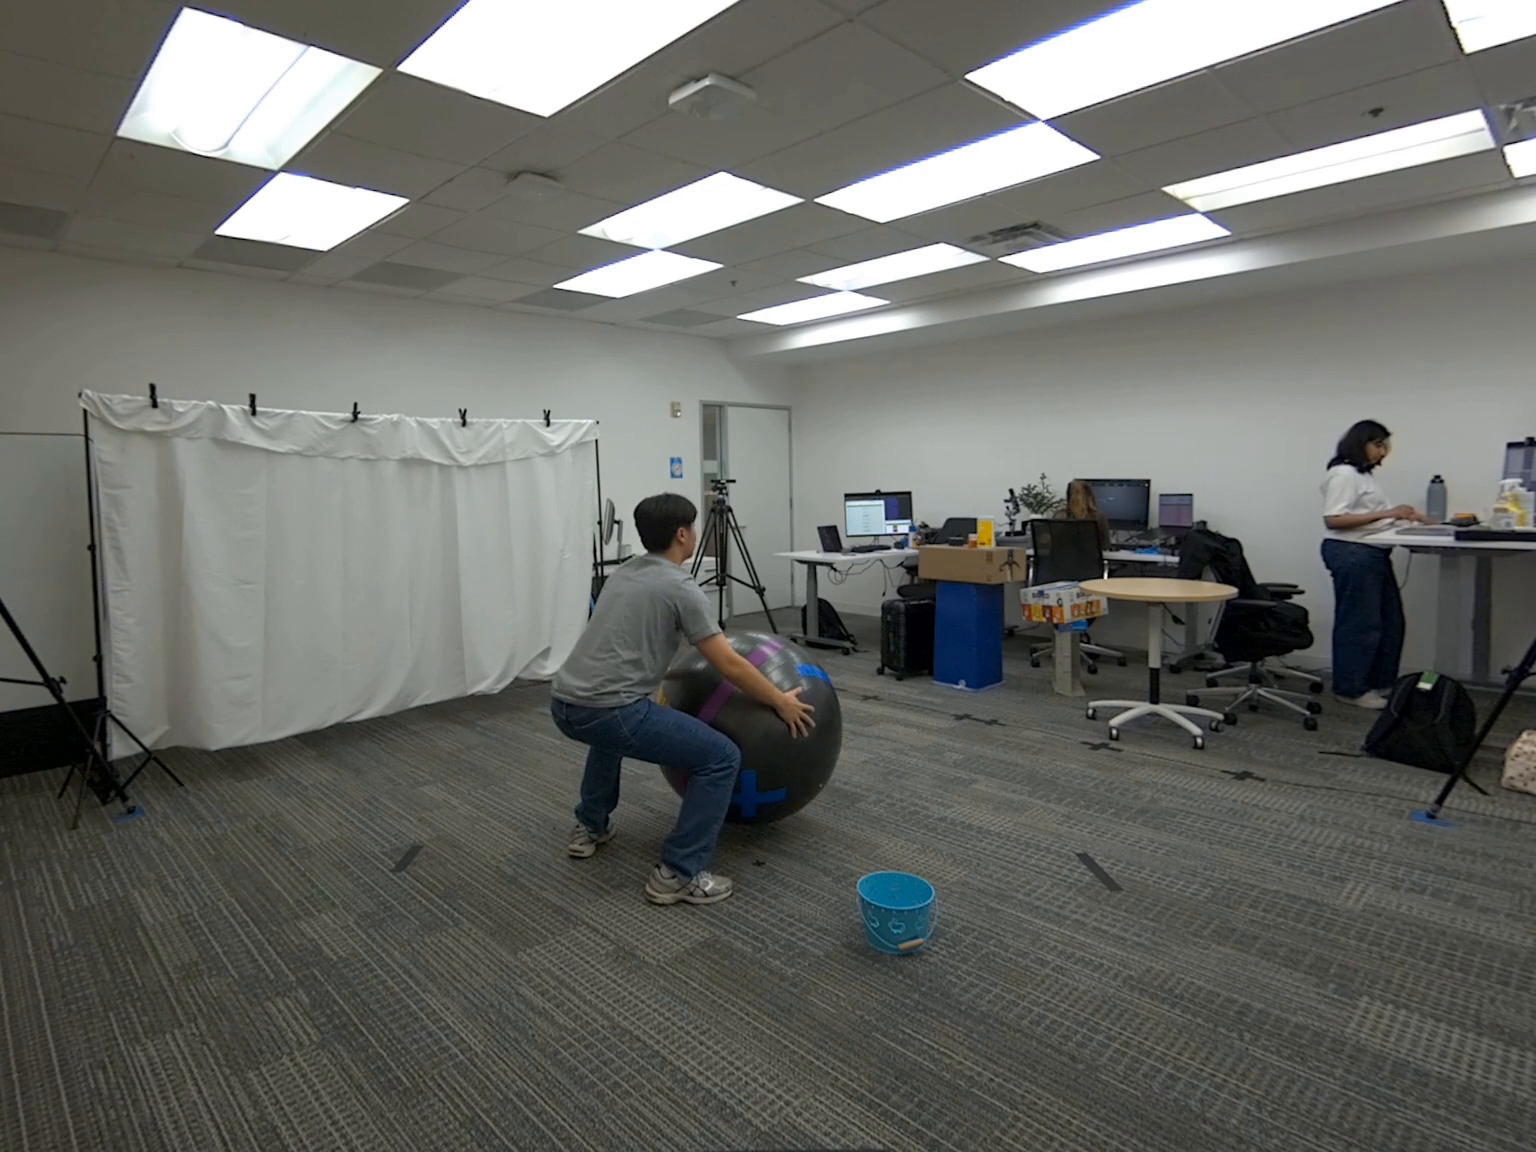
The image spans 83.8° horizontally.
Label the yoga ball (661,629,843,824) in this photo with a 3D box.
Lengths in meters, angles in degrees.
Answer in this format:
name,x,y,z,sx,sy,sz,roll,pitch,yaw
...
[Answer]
name,x,y,z,sx,sy,sz,roll,pitch,yaw
yoga ball,-0.070,0.572,3.421,0.757,0.755,0.762,-1,5,-2
